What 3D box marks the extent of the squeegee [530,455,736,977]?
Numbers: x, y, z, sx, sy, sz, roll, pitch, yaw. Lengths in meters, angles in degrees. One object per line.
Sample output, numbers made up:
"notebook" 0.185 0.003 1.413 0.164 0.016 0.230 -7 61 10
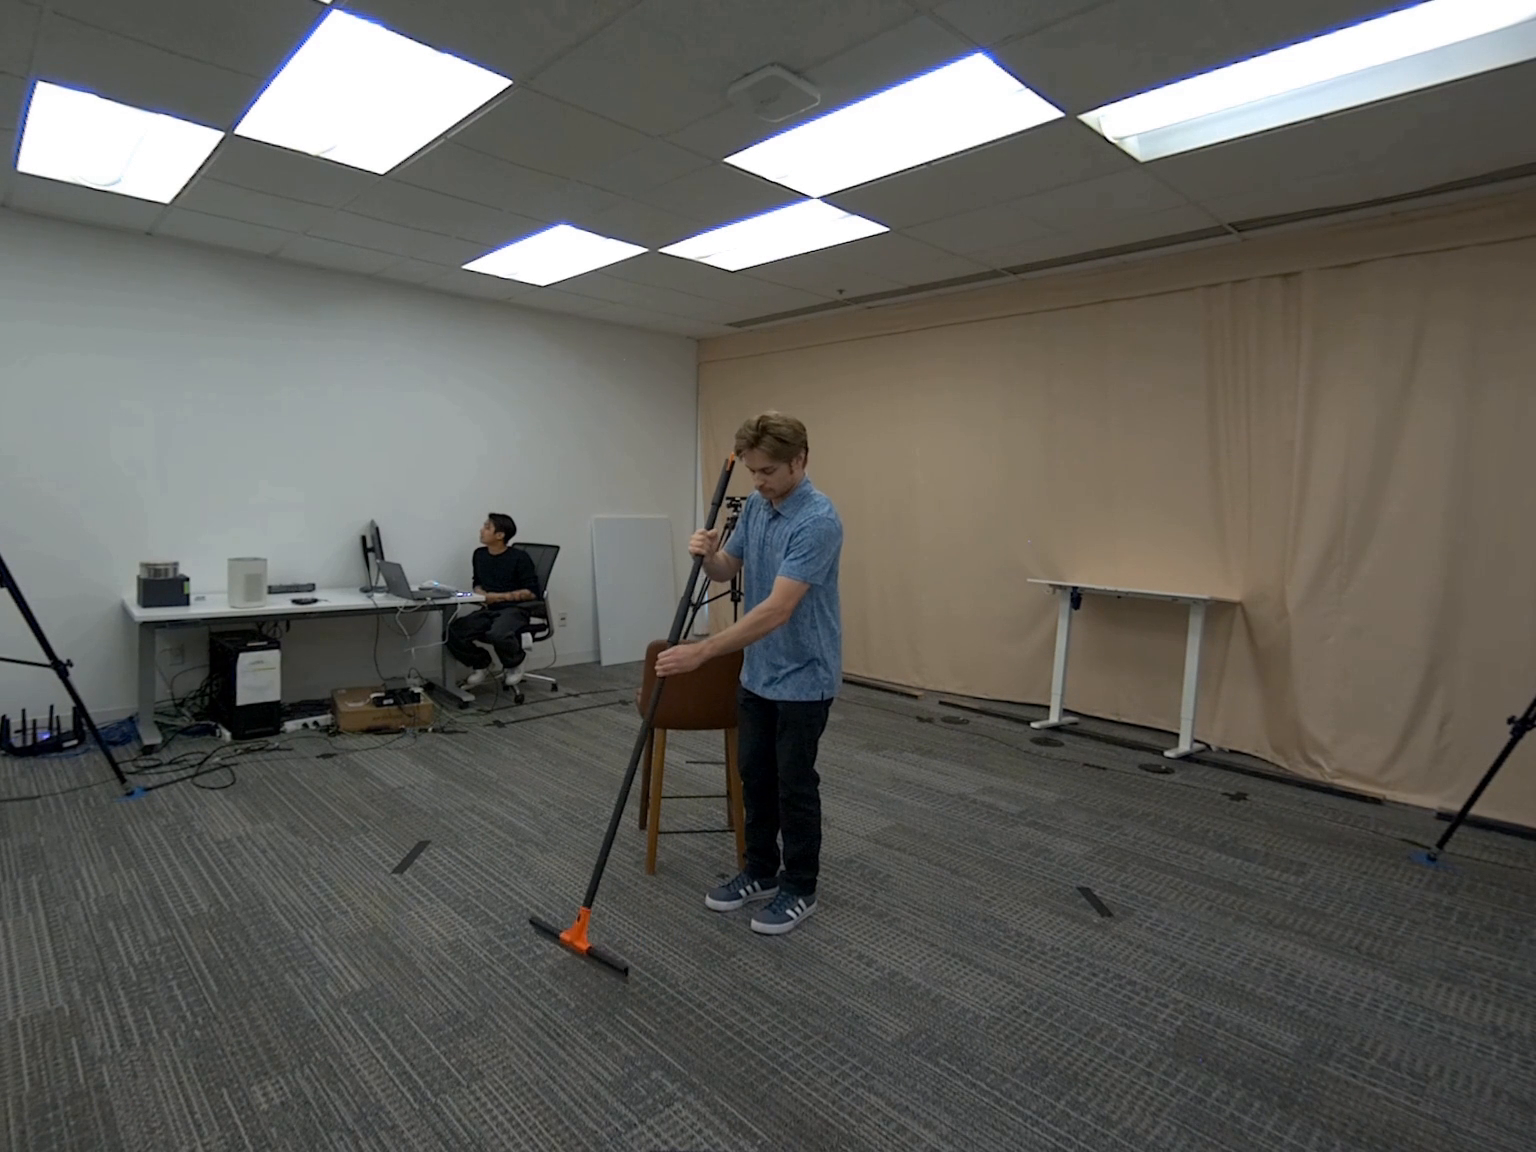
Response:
"squeegee" -0.320 0.320 2.464 0.448 1.550 0.051 0 -22 42
